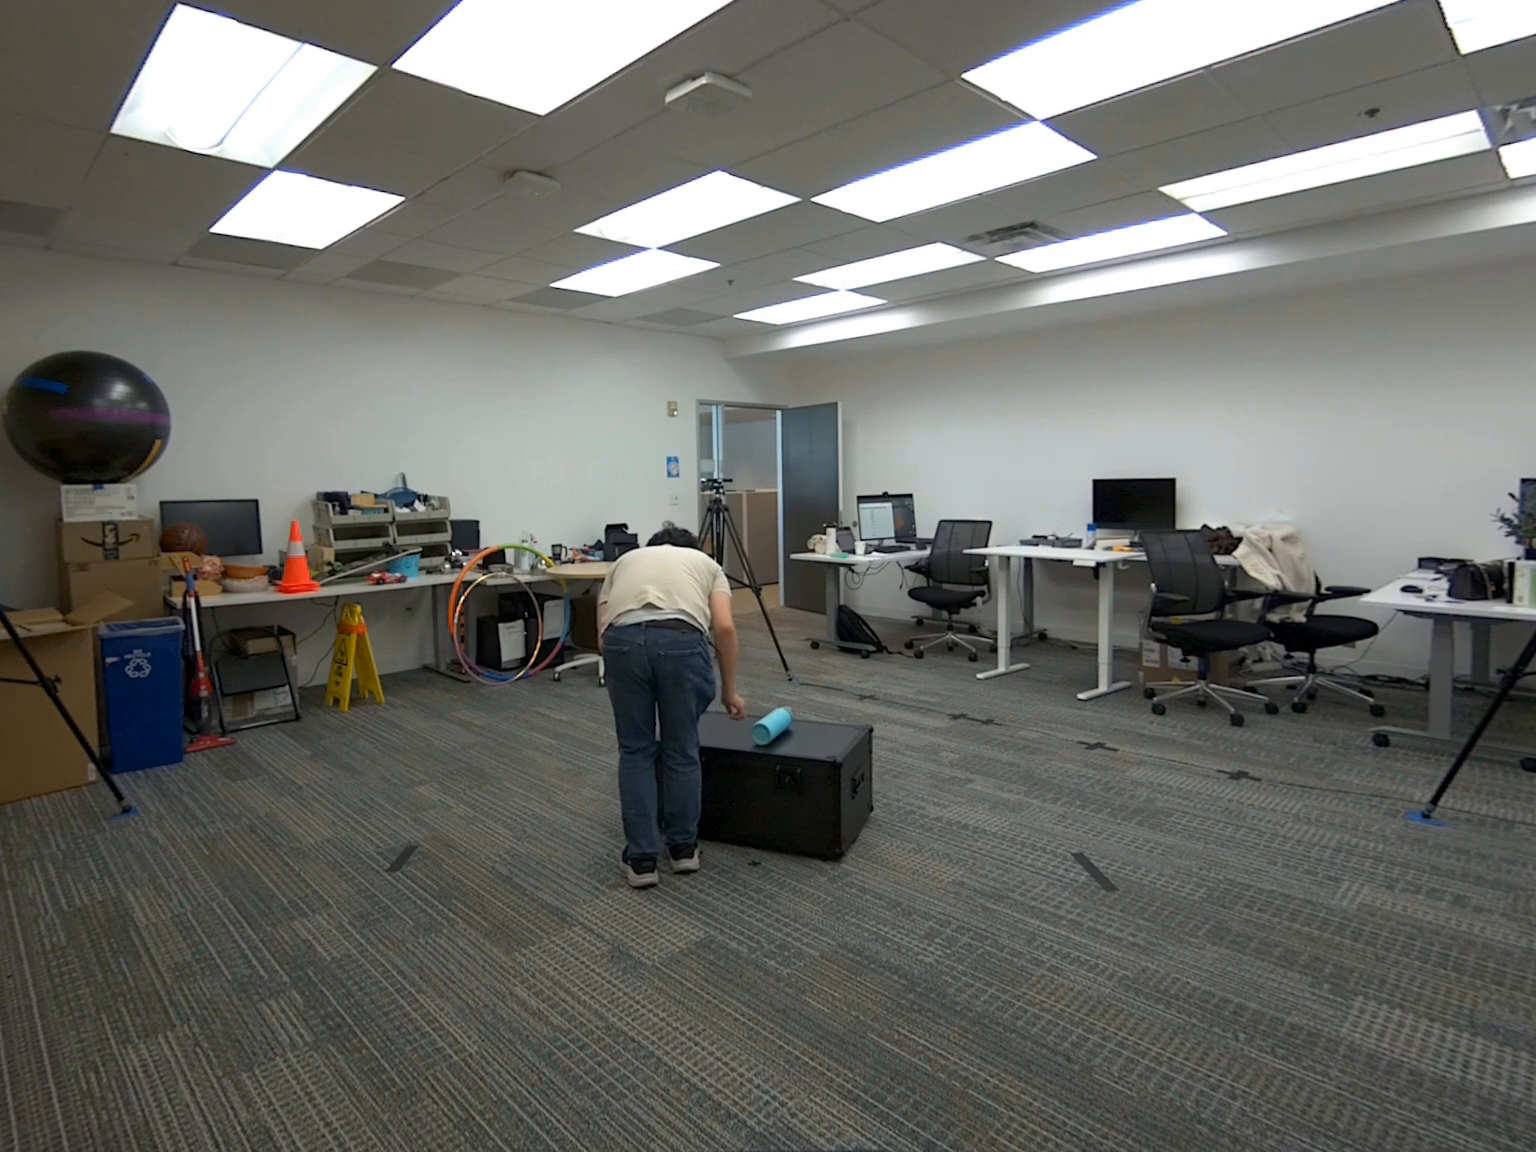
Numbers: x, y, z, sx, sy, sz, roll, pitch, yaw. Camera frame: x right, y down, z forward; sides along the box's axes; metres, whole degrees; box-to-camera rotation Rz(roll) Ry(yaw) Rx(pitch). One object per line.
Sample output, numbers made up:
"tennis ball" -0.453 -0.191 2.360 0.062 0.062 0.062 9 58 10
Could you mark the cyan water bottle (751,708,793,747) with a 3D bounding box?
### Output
"cyan water bottle" 0.025 0.584 3.394 0.094 0.092 0.278 1 7 22
